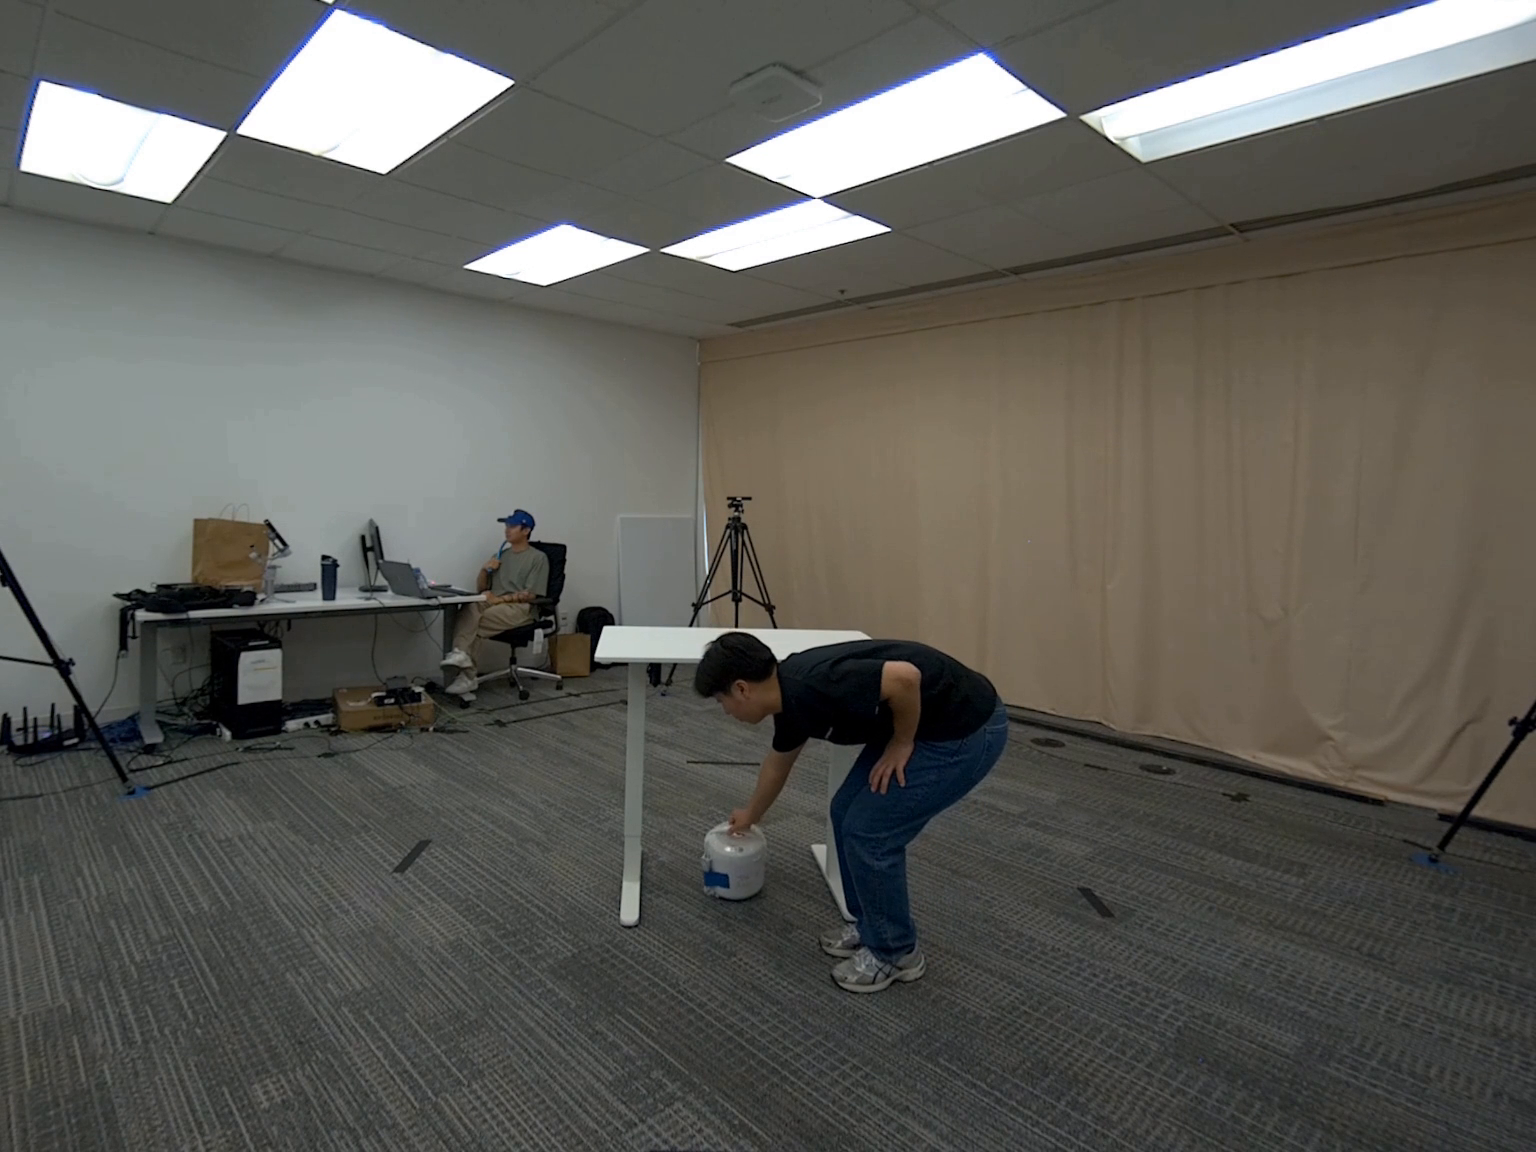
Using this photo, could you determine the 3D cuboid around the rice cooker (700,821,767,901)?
[{"bbox_3d":[-0.117,0.984,2.961,0.222,0.230,0.218,4,14,8],"label":"rice cooker"}]
